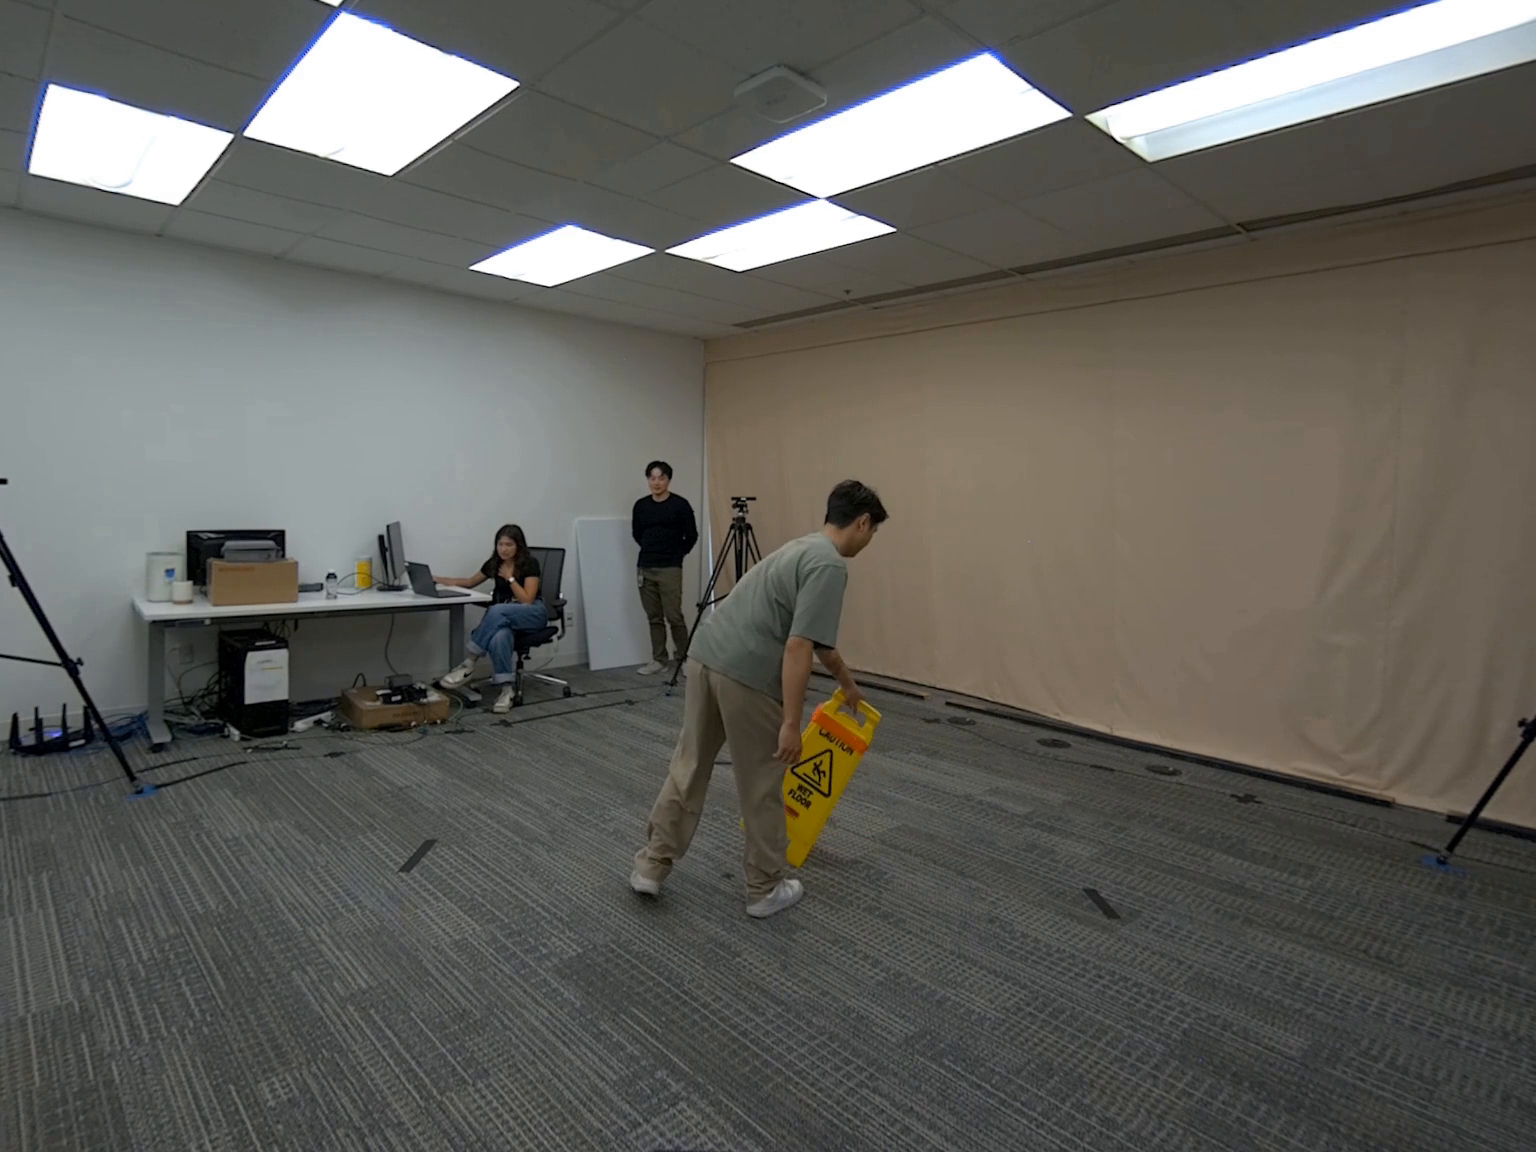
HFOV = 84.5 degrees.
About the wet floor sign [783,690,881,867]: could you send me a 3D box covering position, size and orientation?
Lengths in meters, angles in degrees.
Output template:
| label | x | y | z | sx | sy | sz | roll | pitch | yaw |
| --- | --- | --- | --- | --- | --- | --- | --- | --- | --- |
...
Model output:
| label | x | y | z | sx | sy | sz | roll | pitch | yaw |
| --- | --- | --- | --- | --- | --- | --- | --- | --- | --- |
| wet floor sign | 0.188 | 0.756 | 3.290 | 0.286 | 0.644 | 0.287 | 32 | 10 | 10 |
